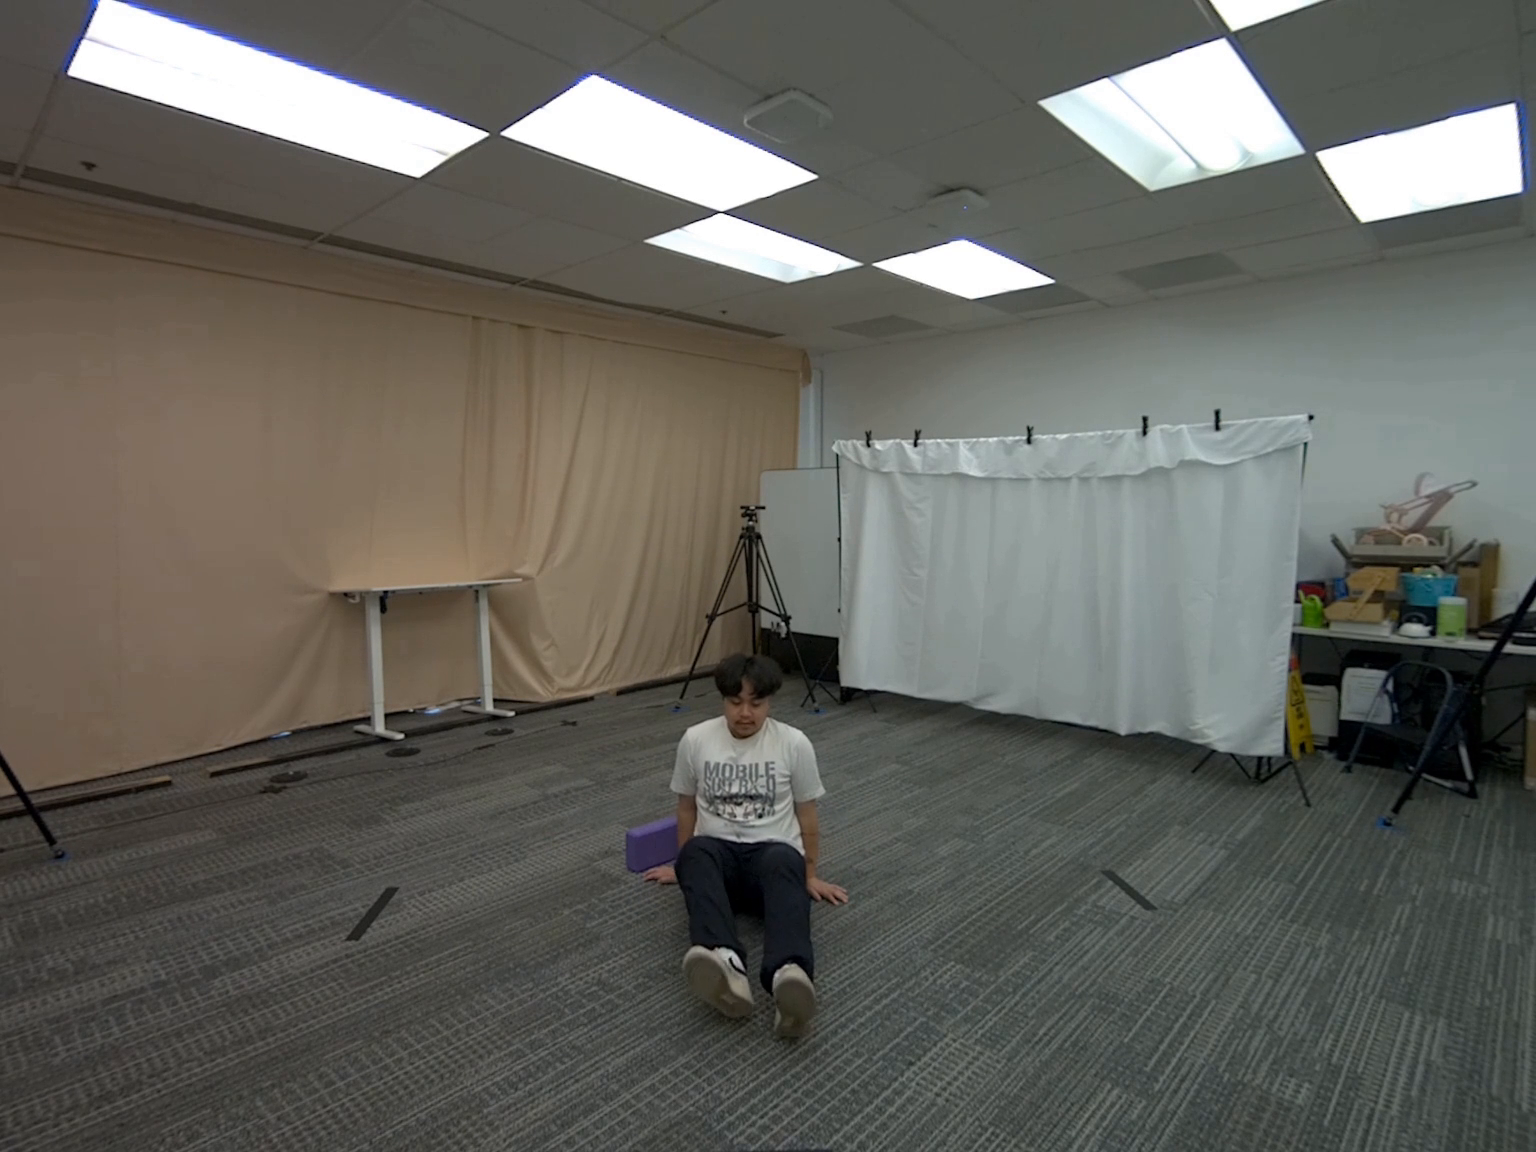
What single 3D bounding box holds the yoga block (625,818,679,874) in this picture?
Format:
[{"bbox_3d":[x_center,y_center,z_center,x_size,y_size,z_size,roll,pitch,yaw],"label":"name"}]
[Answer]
[{"bbox_3d":[-0.448,1.044,3.290,0.223,0.149,0.079,-5,3,-36],"label":"yoga block"}]
